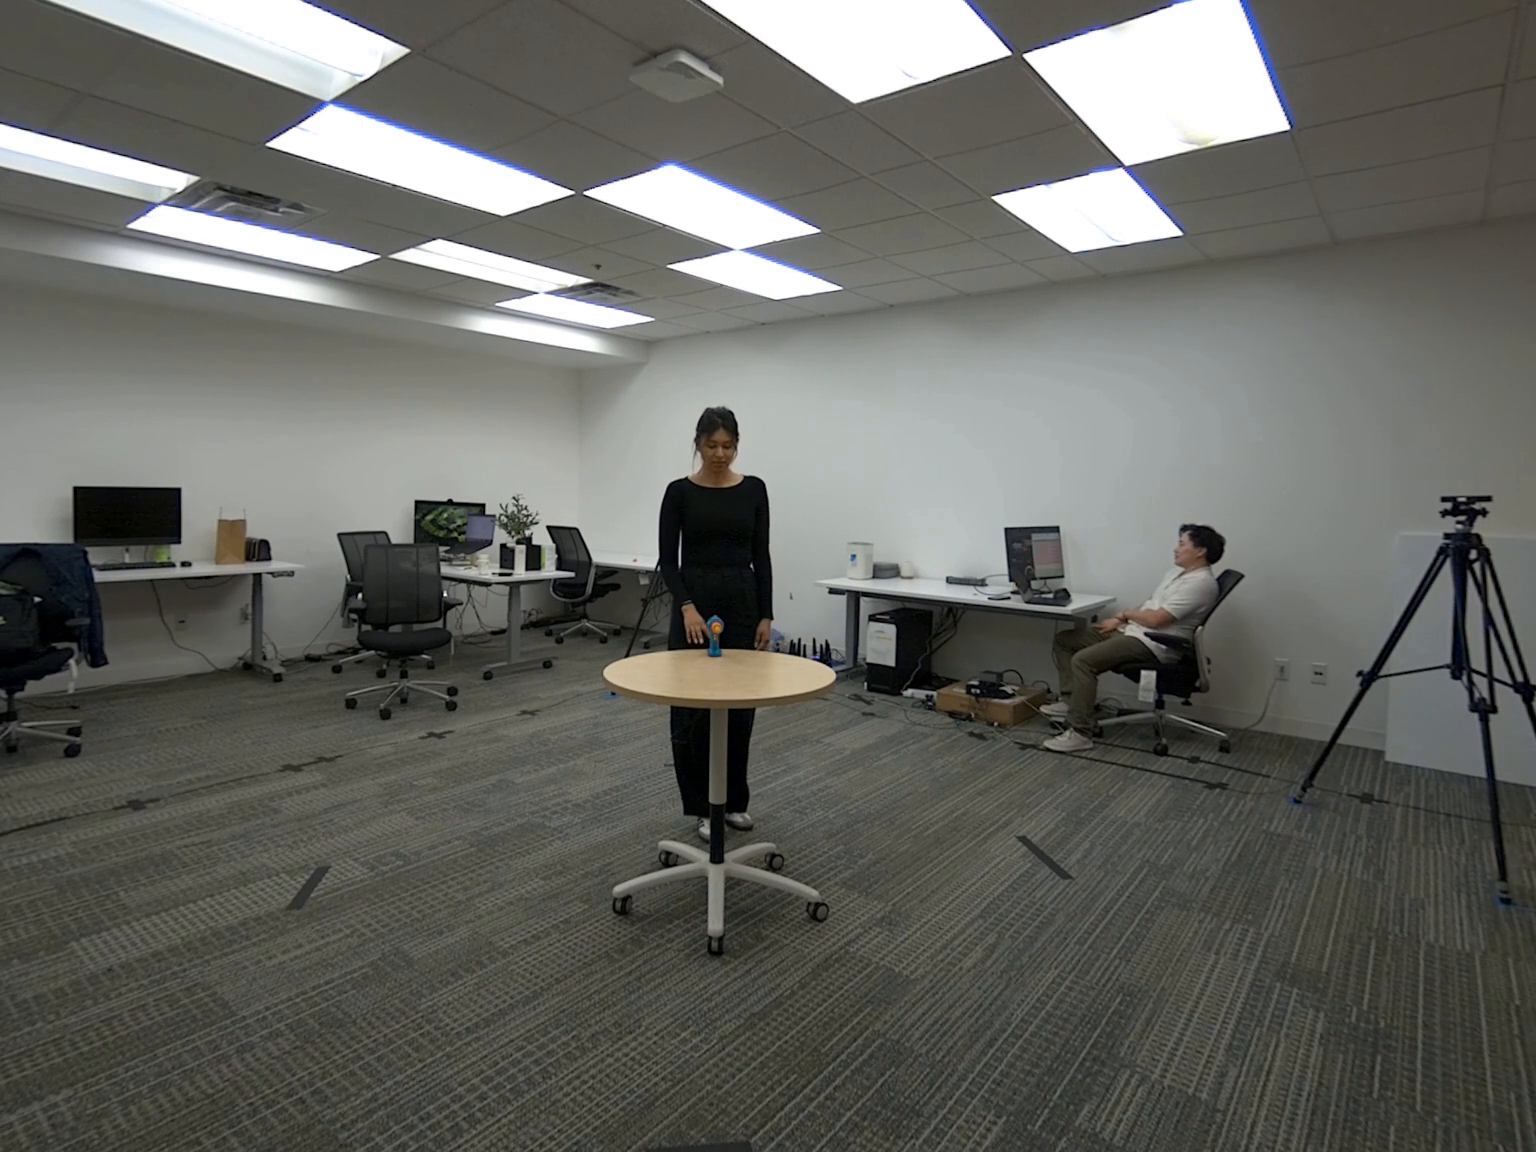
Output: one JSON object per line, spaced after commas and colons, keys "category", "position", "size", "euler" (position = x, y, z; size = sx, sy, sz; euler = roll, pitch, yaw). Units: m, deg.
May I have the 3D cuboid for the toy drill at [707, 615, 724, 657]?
{"category": "toy drill", "position": [-0.194, 0.214, 3.042], "size": [0.060, 0.145, 0.172], "euler": [-1, 4, -13]}
